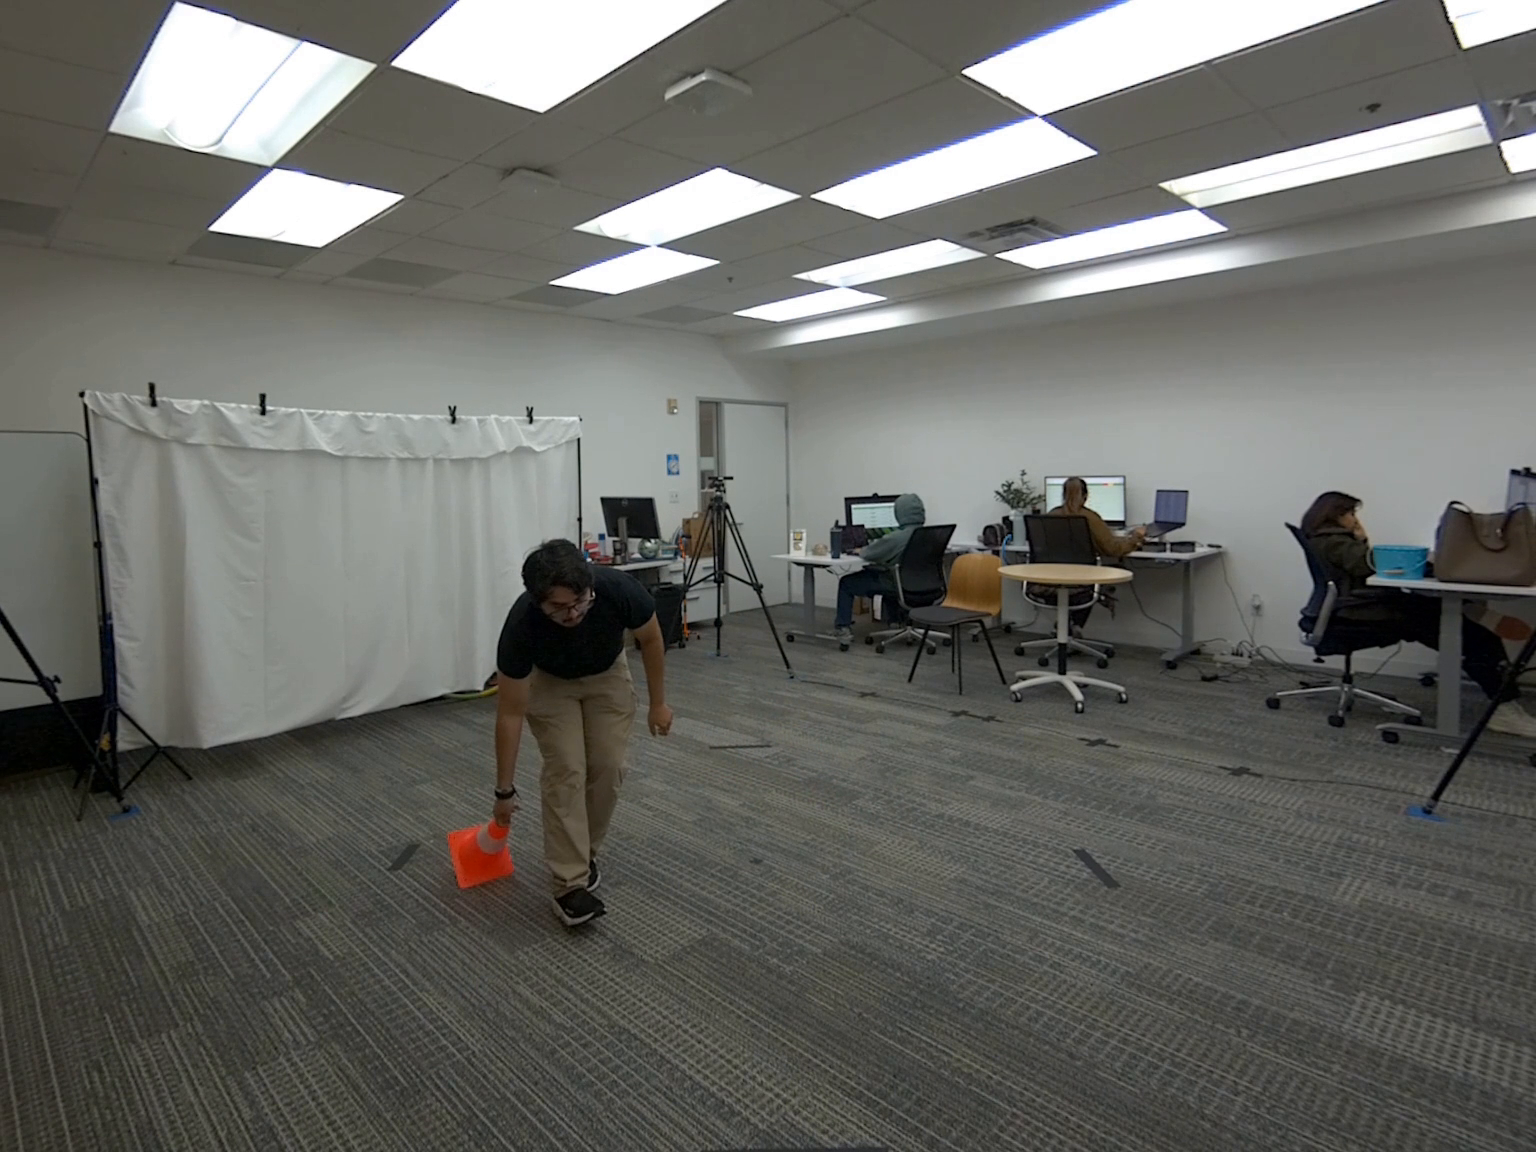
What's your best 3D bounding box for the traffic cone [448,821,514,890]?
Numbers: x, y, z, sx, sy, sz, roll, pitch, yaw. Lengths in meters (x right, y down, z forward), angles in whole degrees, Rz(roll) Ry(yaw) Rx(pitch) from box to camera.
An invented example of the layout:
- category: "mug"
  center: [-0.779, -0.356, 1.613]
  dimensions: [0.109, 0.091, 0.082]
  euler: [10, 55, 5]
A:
- category: "traffic cone"
  center: [-0.928, 0.887, 2.915]
  dimensions: [0.198, 0.211, 0.382]
  euler: [-1, -35, -35]
